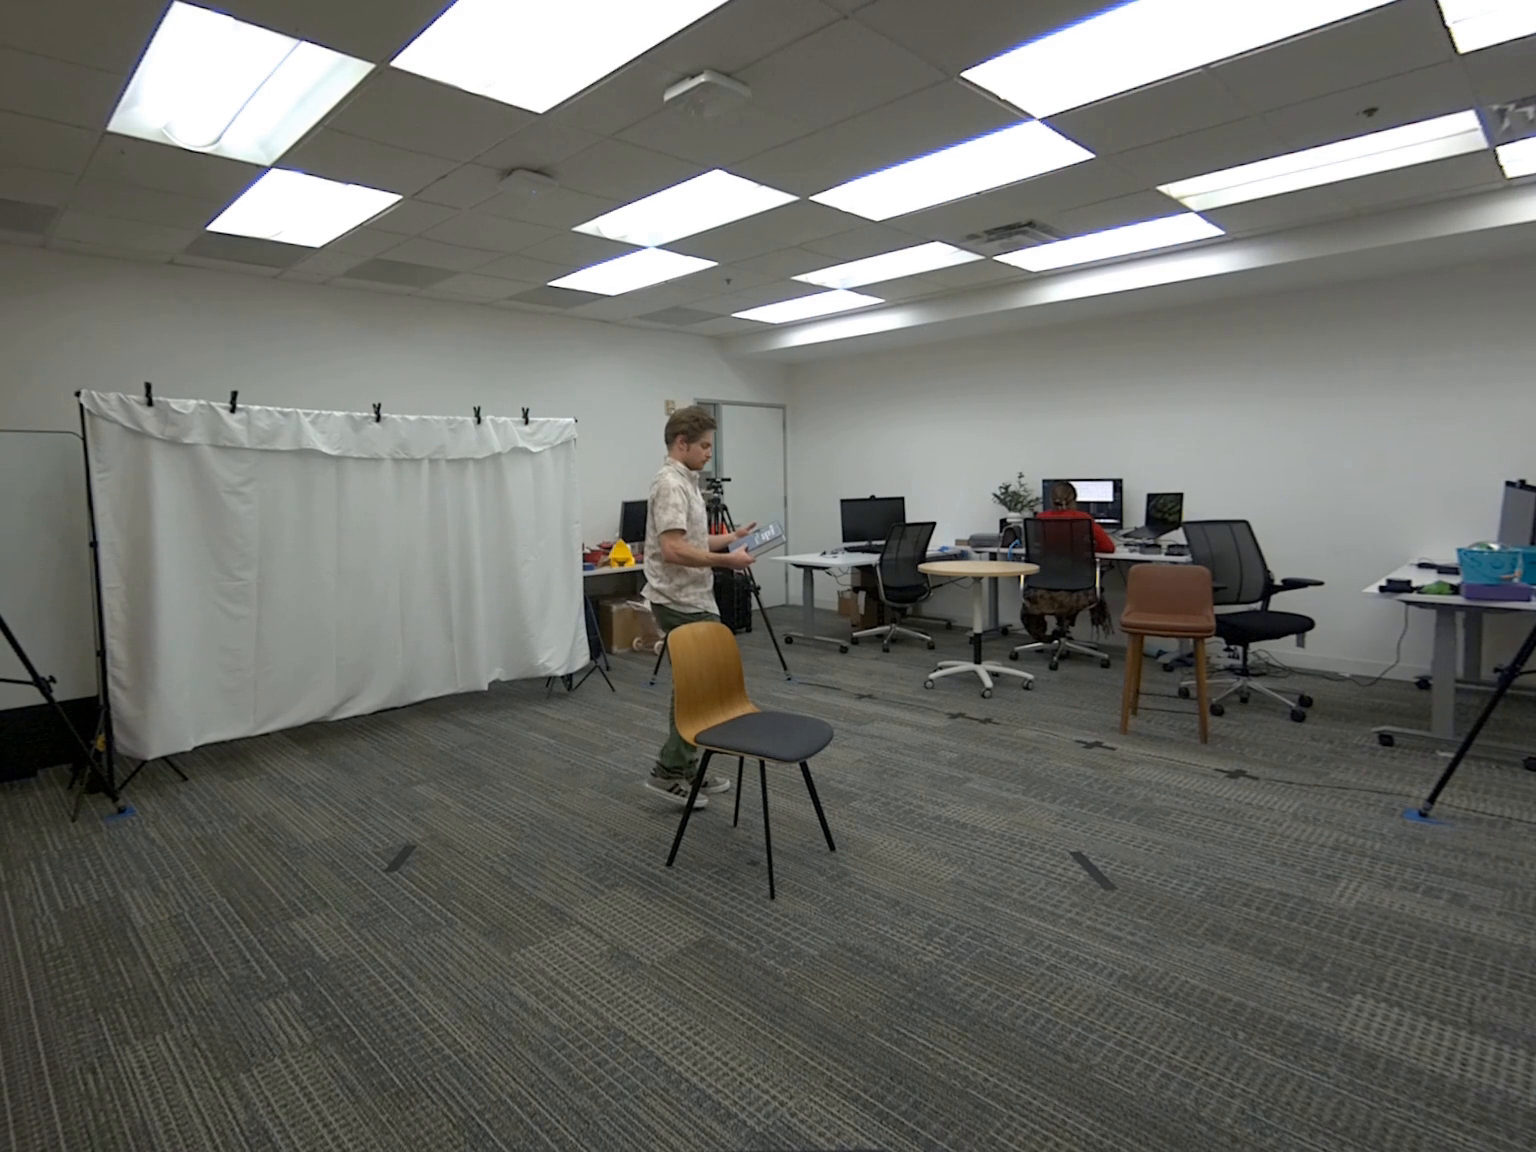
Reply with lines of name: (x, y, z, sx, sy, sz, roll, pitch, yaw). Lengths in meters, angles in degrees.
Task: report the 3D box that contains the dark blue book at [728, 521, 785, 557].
dark blue book: (-0.051, -0.145, 3.707, 0.245, 0.044, 0.167, -25, 25, 4)
